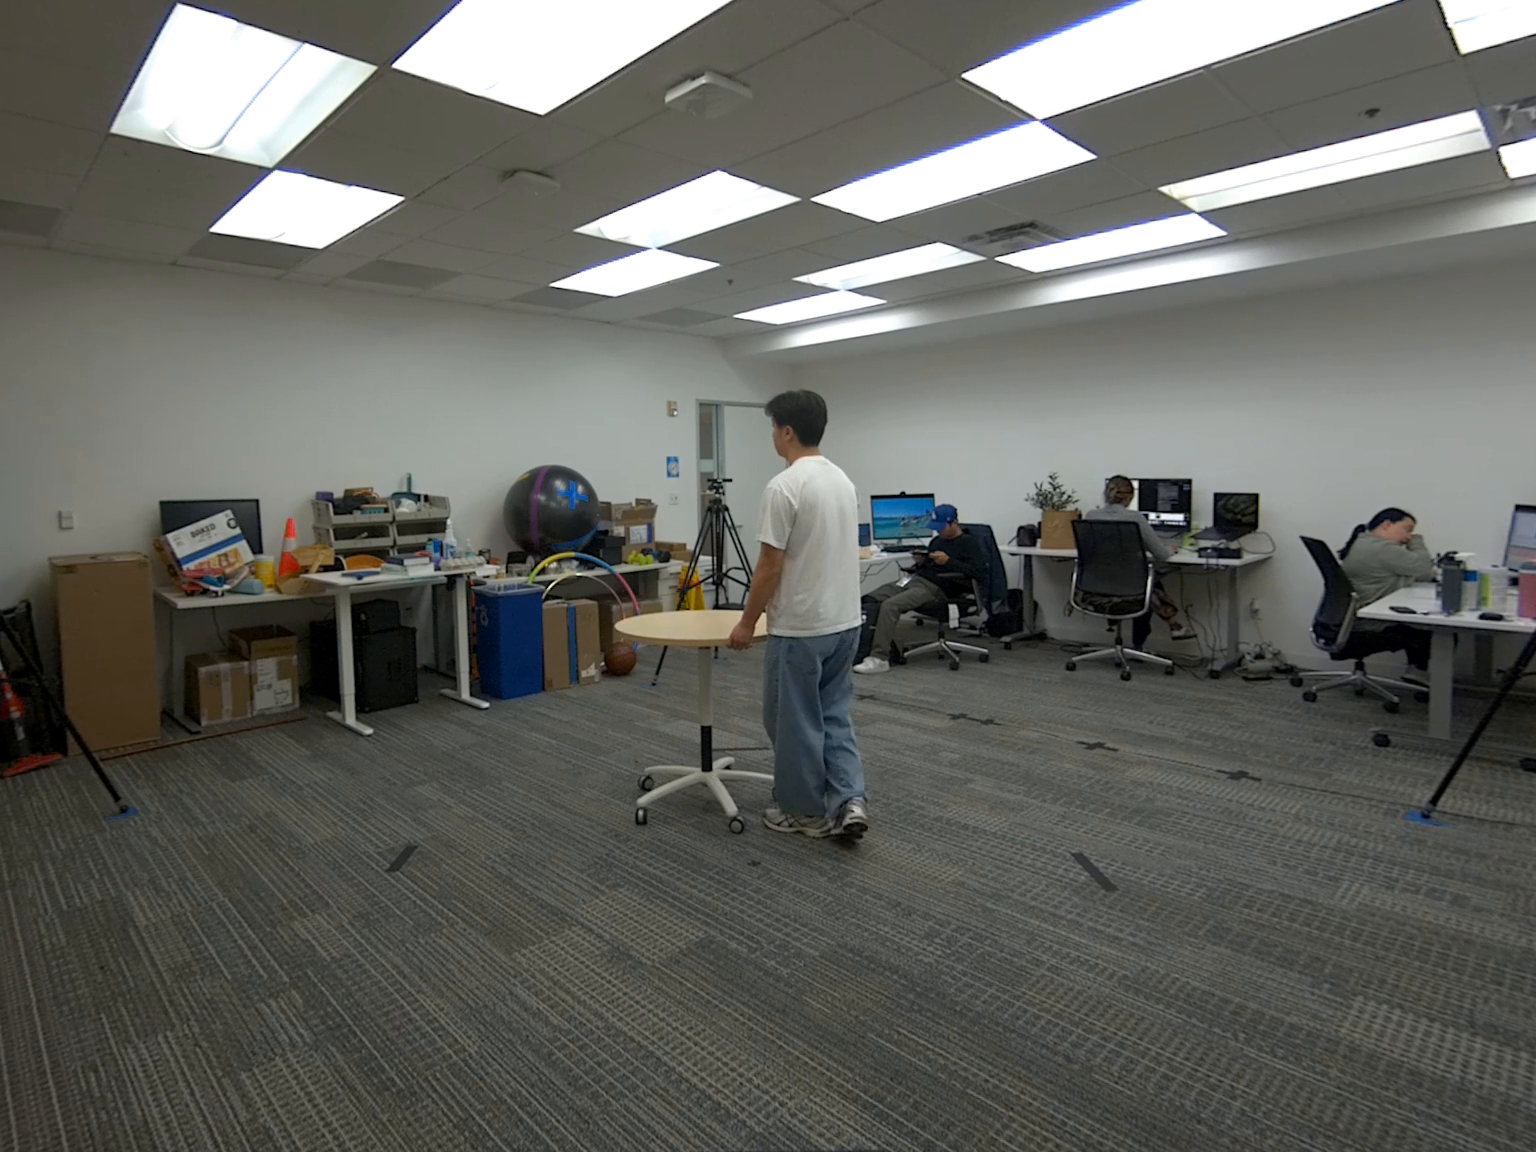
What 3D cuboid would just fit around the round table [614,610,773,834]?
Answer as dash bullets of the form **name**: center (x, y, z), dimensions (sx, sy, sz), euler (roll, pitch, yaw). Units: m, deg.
- **round table**: center (-0.265, 0.595, 3.679), dimensions (0.763, 0.791, 0.767), euler (-1, 4, -2)
